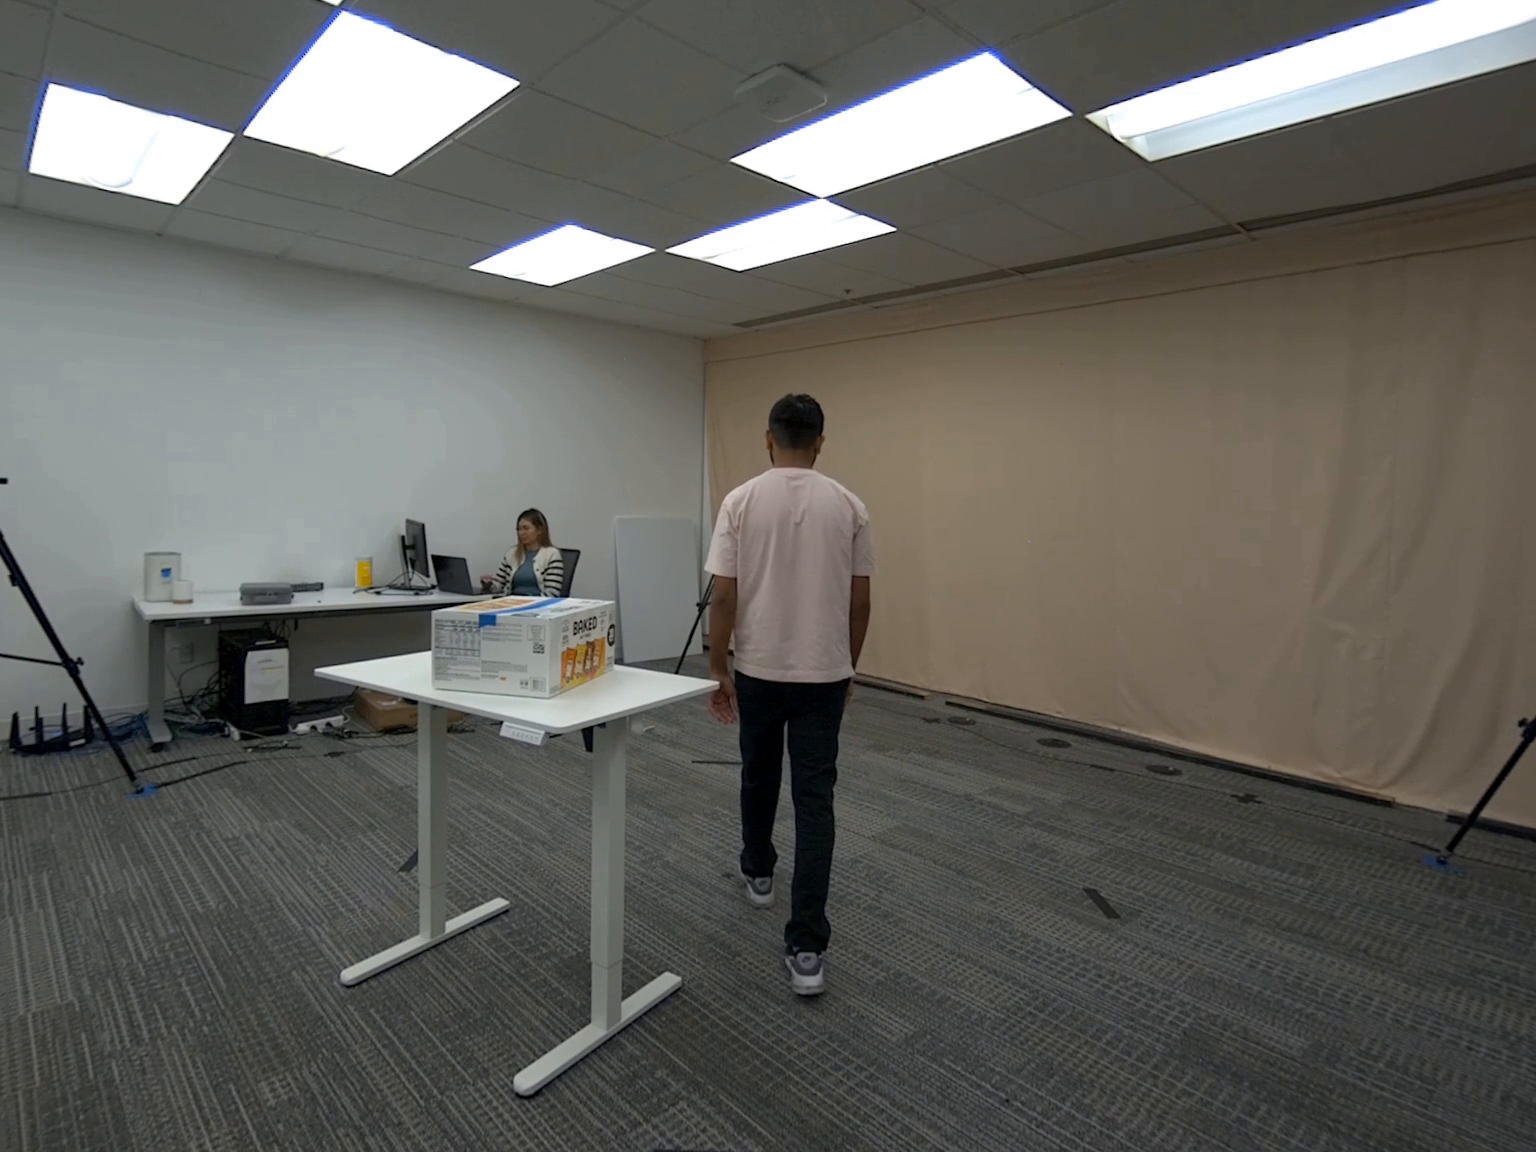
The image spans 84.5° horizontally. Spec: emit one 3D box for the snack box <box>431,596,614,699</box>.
[{"bbox_3d":[-0.659,0.181,2.309,0.344,0.205,0.401,1,5,15],"label":"snack box"}]
